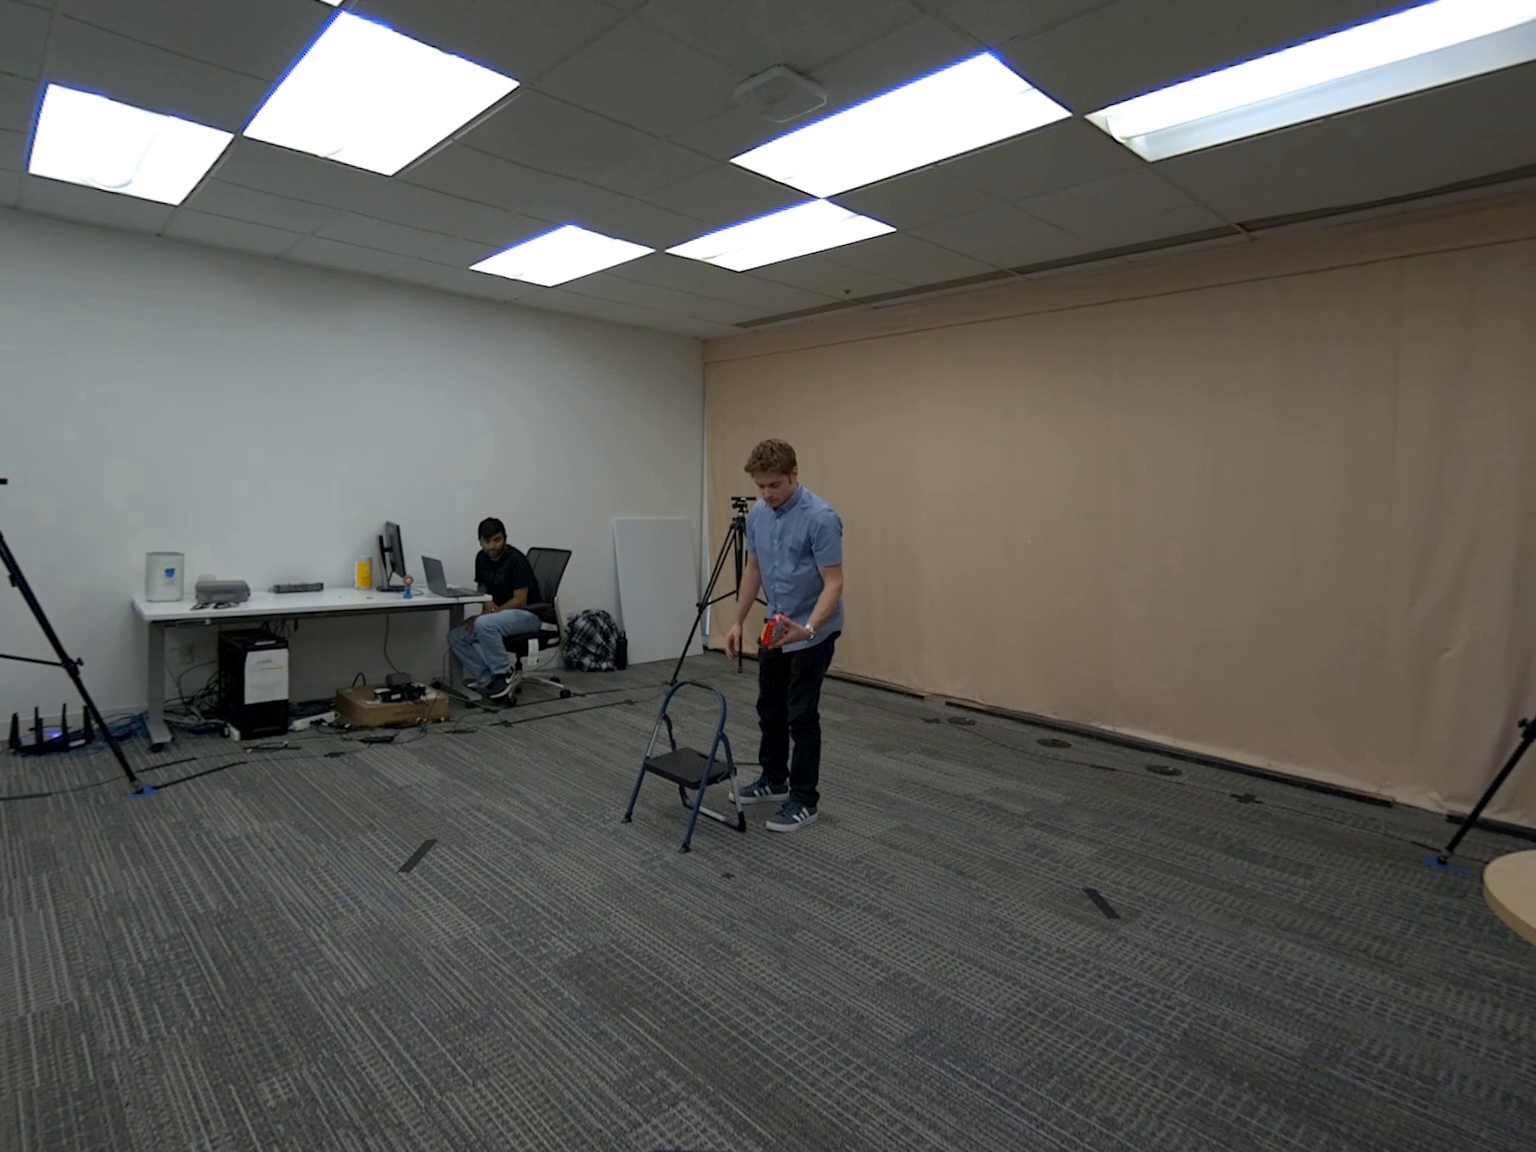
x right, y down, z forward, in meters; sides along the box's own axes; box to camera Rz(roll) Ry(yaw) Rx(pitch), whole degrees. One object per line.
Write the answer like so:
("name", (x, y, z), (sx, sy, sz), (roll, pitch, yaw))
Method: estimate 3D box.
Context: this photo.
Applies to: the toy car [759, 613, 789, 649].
("toy car", (0.045, 0.245, 3.277), (0.132, 0.082, 0.254), (8, 16, 12))
